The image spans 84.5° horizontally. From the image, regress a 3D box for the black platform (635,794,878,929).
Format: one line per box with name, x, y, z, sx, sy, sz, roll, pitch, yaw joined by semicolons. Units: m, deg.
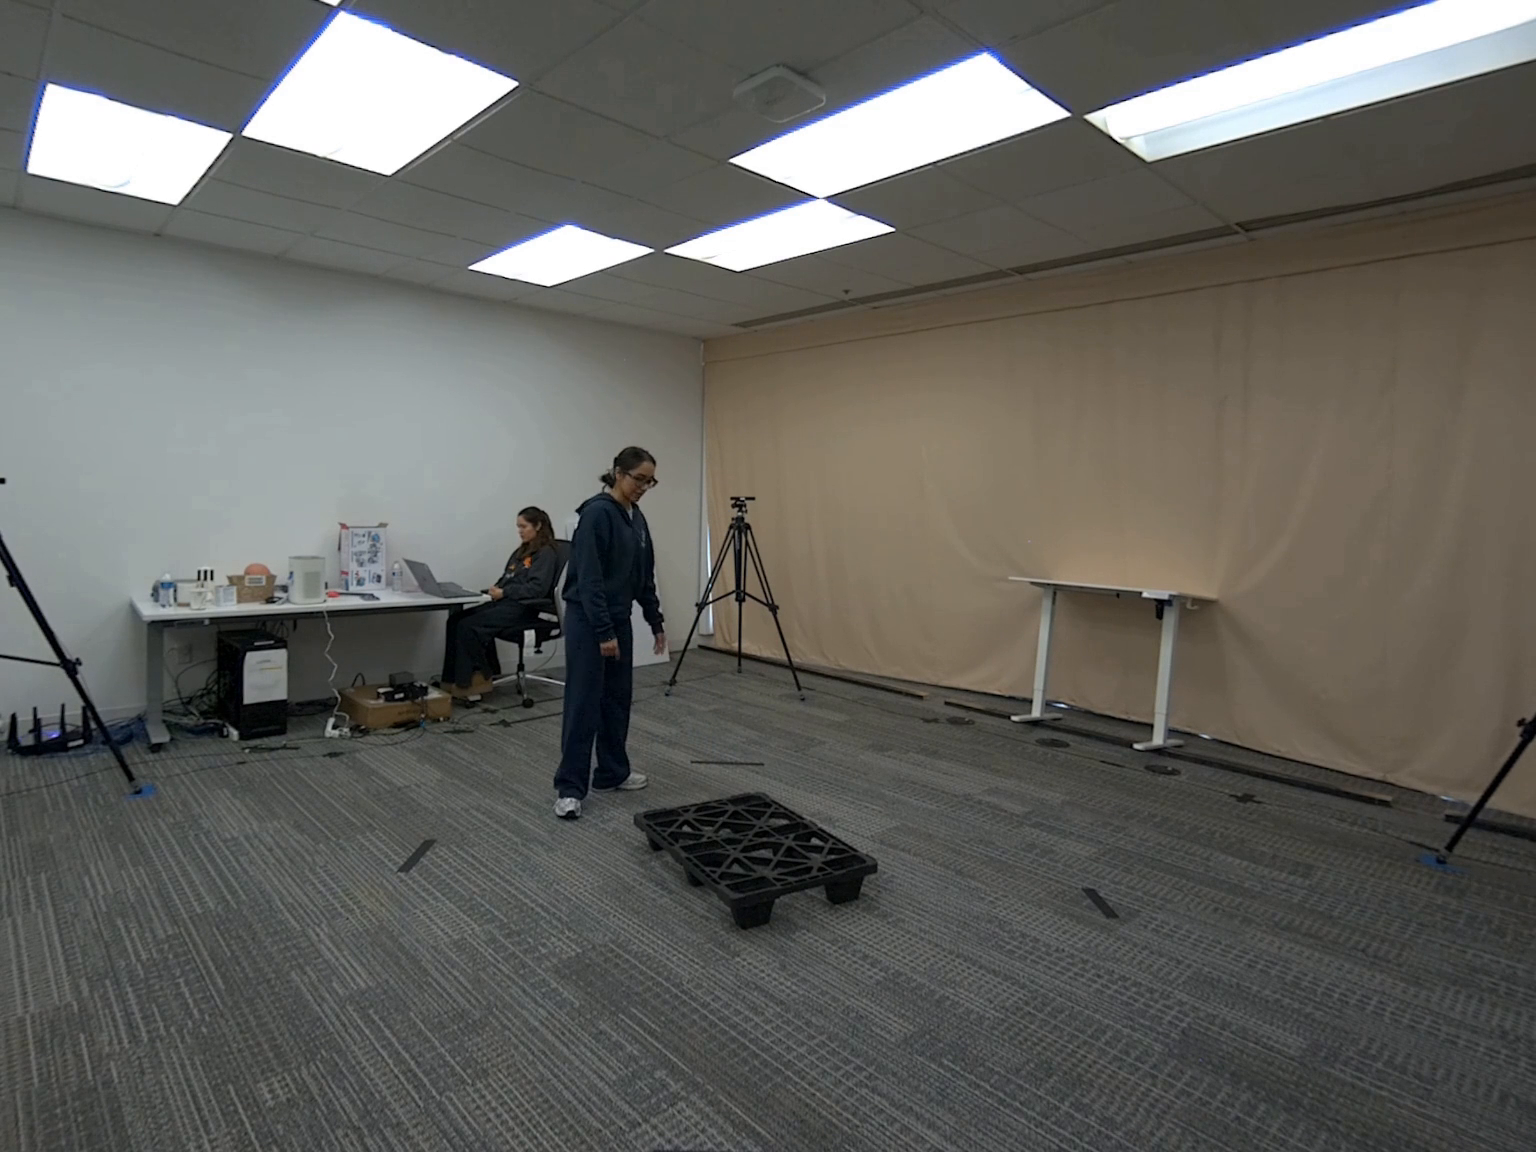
black platform;-0.082;1.038;3.144;0.592;0.143;0.824;-1;6;-31
